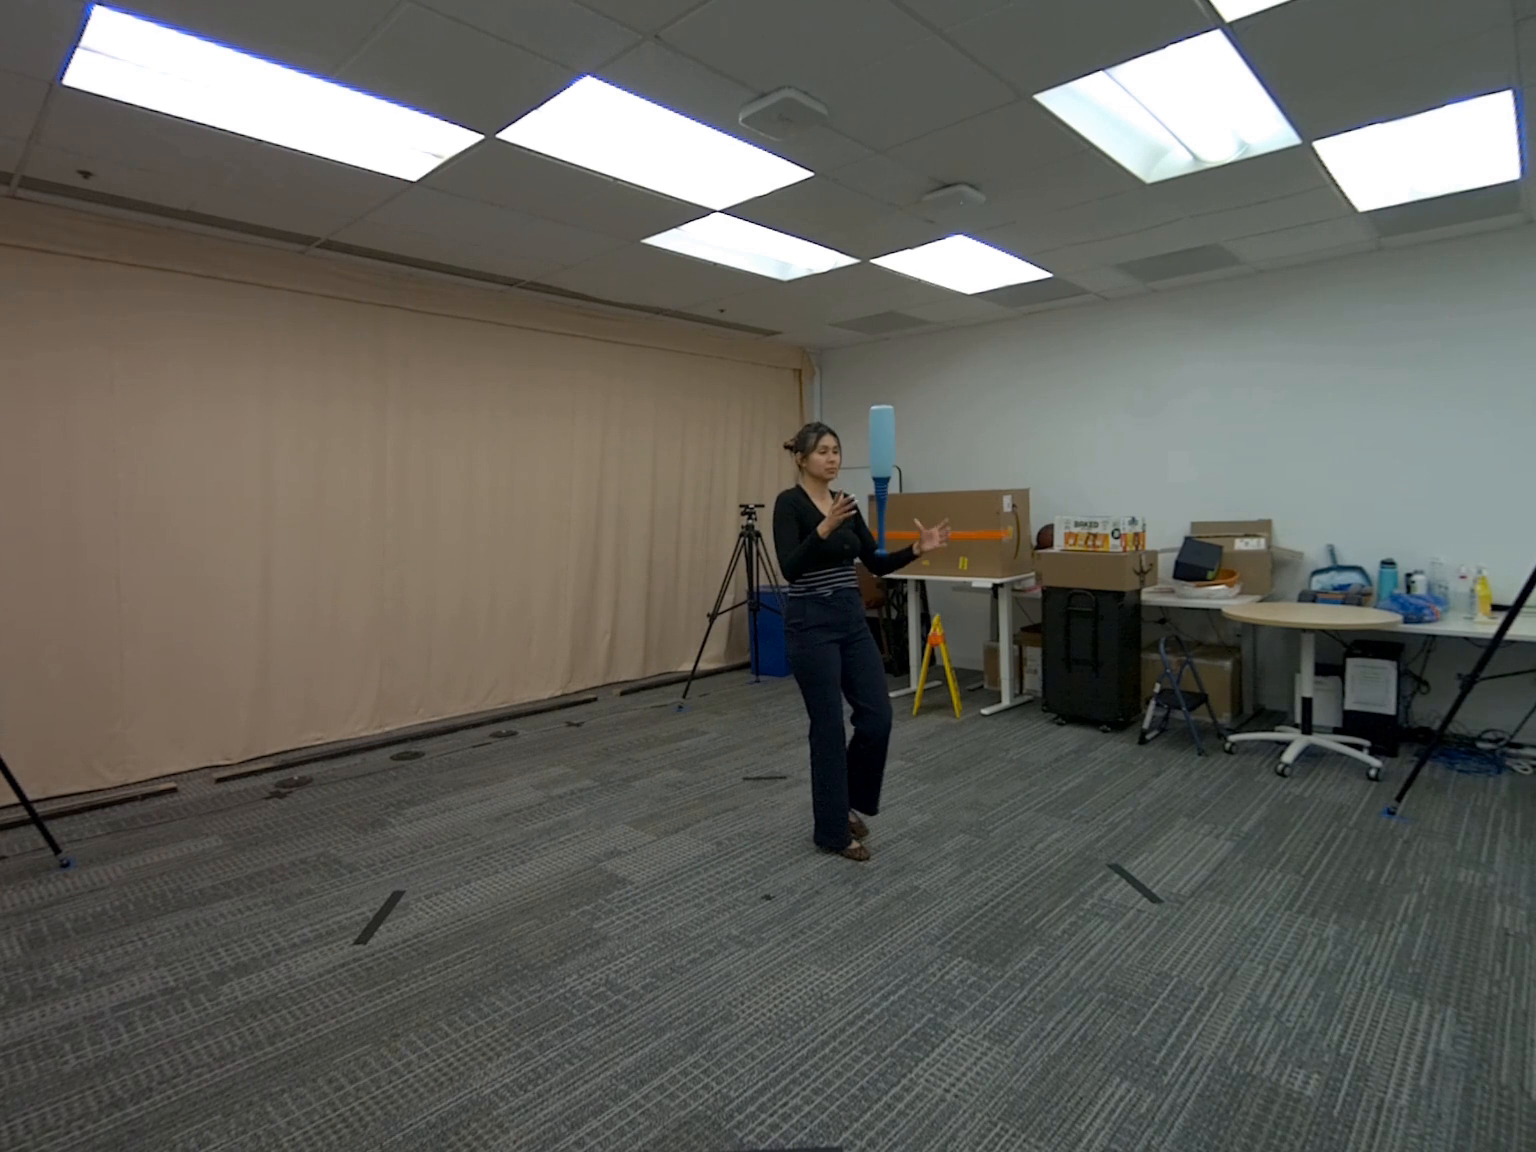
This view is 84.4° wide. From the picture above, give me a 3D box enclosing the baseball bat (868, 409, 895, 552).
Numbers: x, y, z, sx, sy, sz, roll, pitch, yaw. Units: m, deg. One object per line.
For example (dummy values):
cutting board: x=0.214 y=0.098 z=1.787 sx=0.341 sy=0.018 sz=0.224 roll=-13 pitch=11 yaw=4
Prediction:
baseball bat: x=0.408 y=-0.291 z=3.024 sx=0.089 sy=0.540 sz=0.090 roll=-1 pitch=9 yaw=-2
